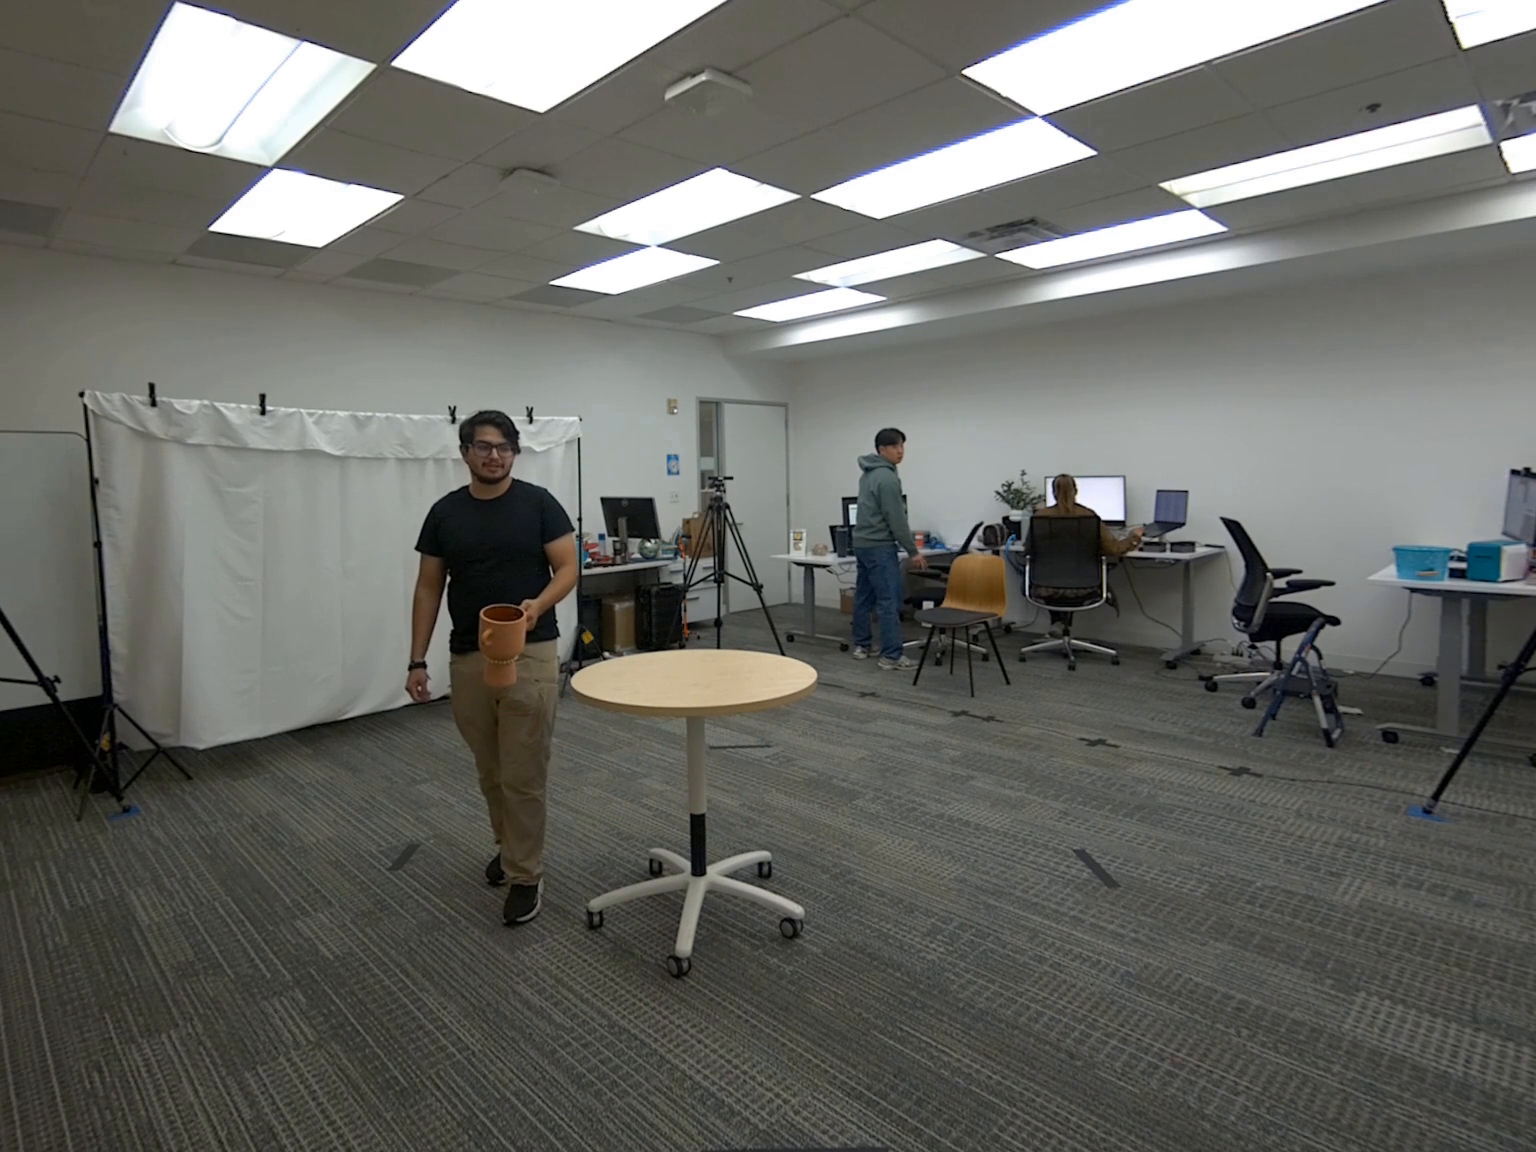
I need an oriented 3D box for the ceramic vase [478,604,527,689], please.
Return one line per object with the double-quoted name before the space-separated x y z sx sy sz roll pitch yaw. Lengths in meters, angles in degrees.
"ceramic vase" -0.790 0.214 2.535 0.155 0.217 0.140 -5 22 -31
